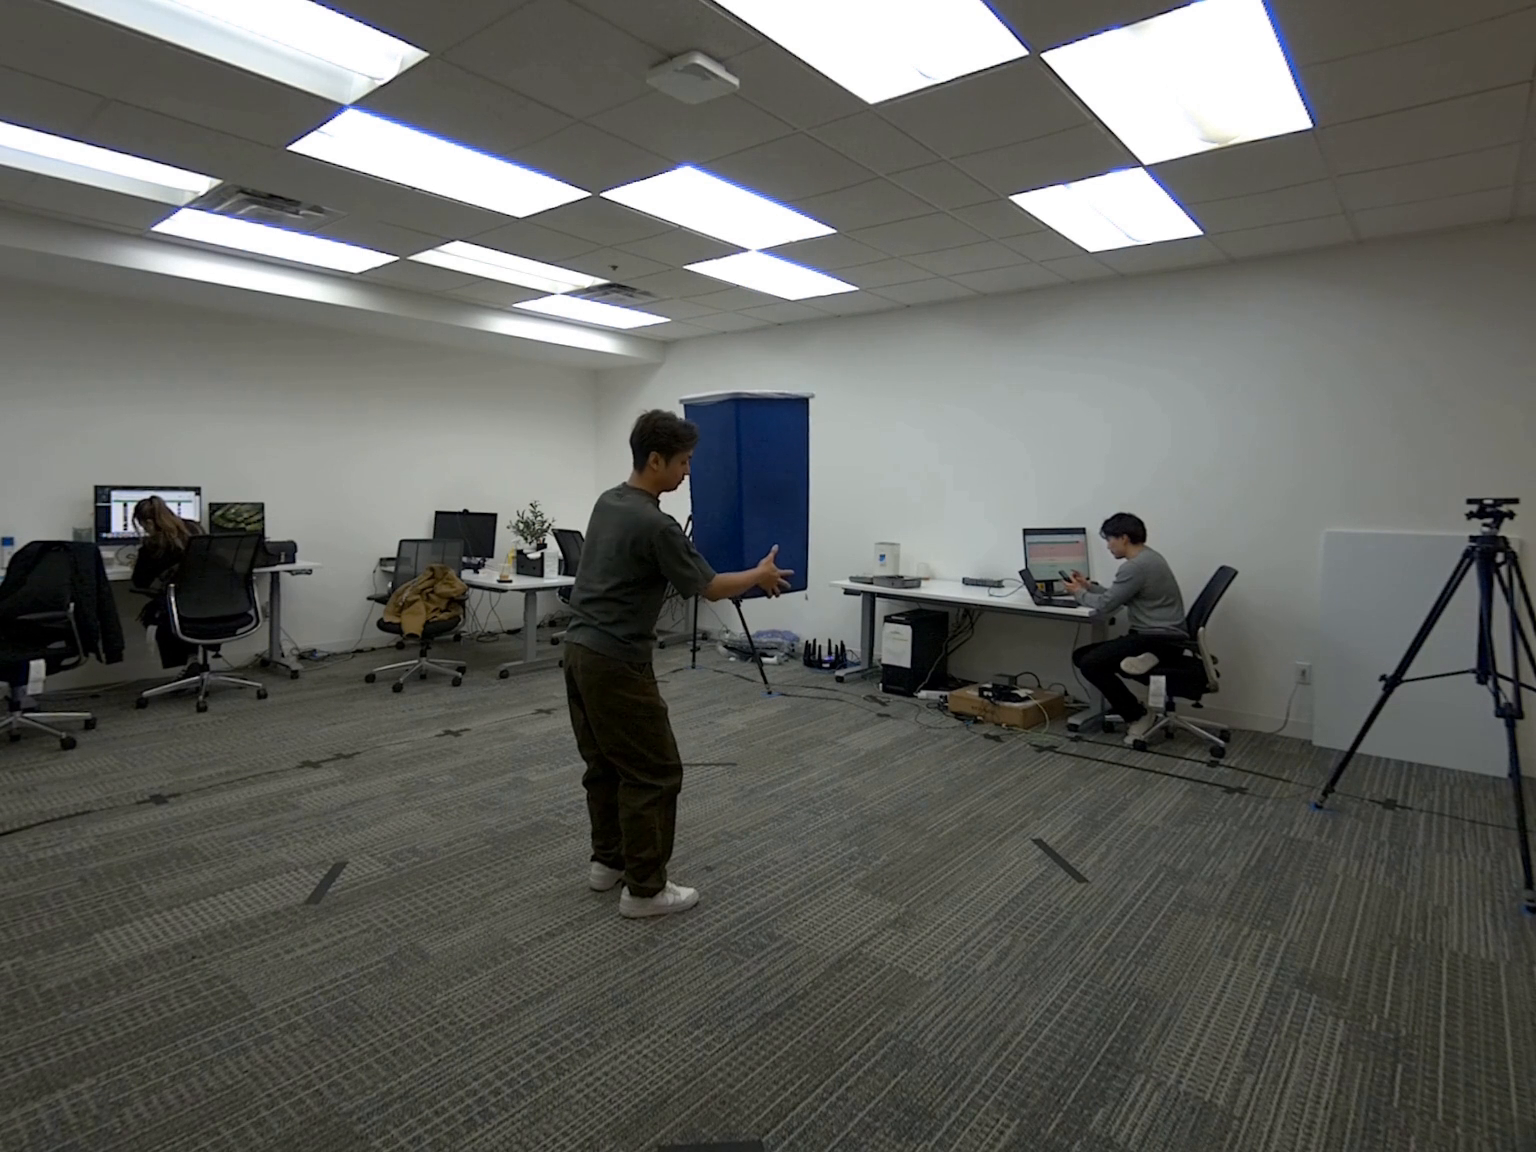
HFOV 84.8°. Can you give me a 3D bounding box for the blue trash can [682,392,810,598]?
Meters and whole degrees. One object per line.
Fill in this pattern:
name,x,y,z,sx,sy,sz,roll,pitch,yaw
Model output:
blue trash can,-0.085,-0.311,3.108,0.368,0.709,0.387,-6,8,-38
